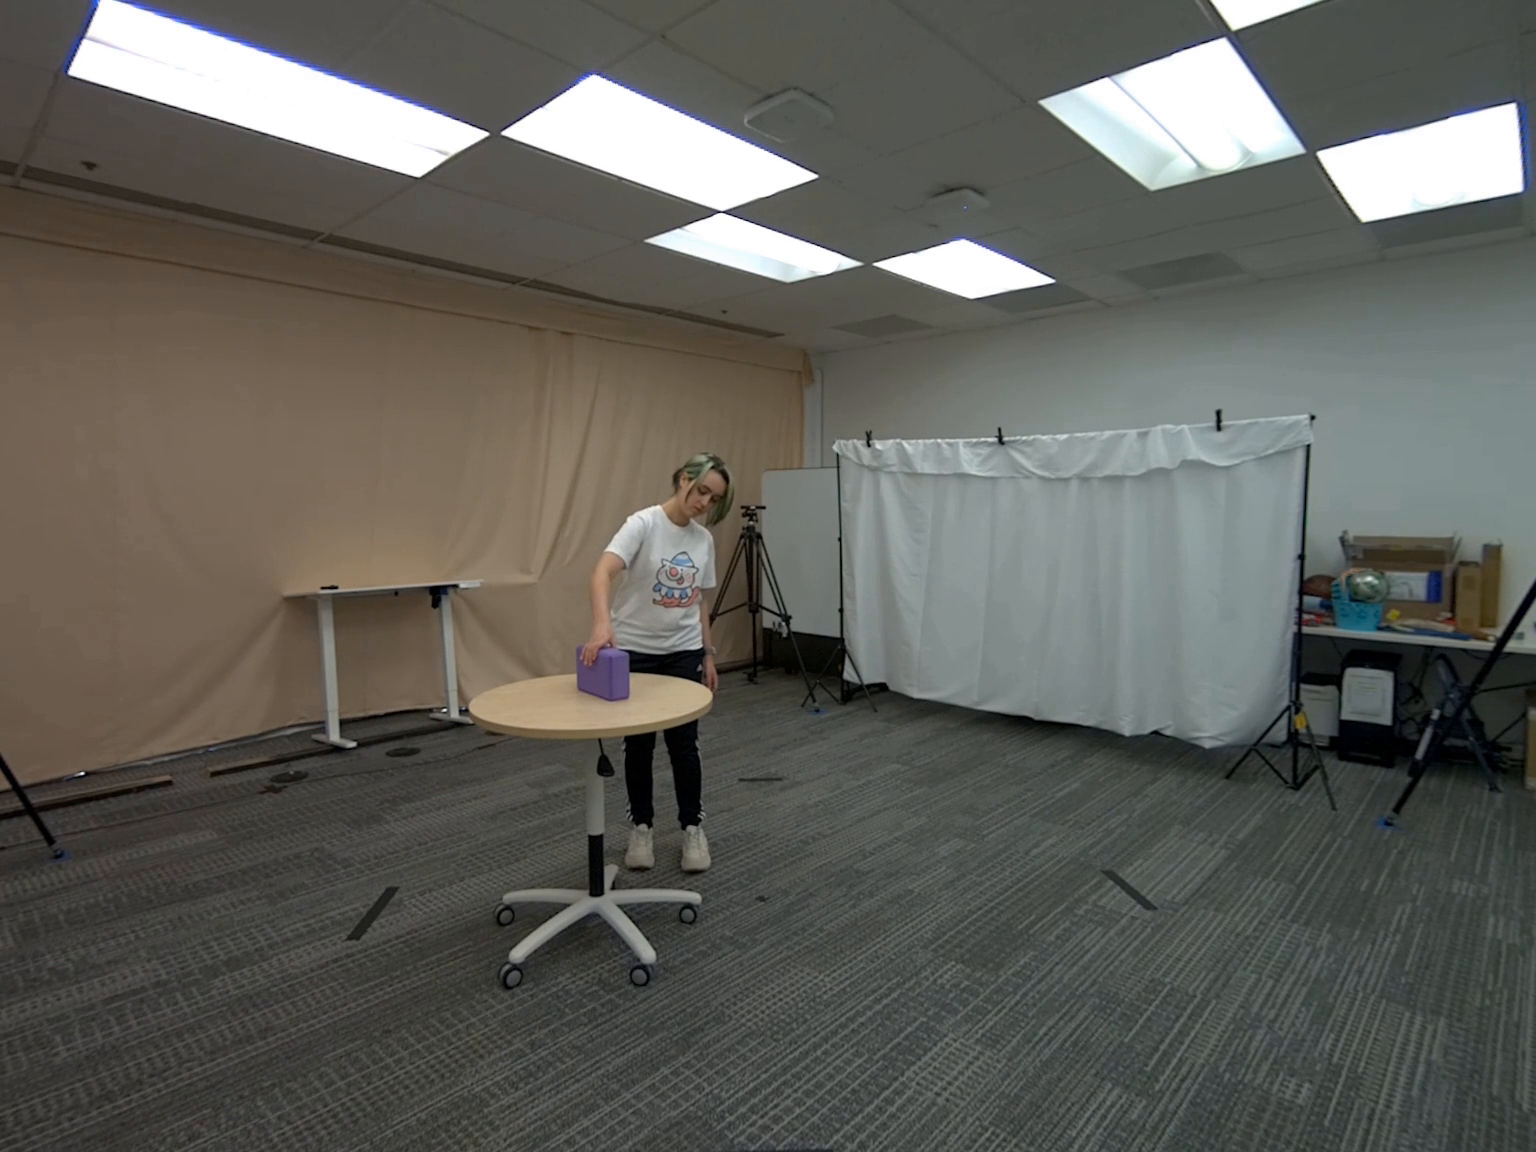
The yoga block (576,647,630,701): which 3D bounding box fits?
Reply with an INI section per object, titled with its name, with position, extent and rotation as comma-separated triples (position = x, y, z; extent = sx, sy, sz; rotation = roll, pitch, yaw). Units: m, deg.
[yoga block]
position = -0.539, 0.307, 2.730
extent = 0.074, 0.148, 0.237
rotation = -3, 5, -39
